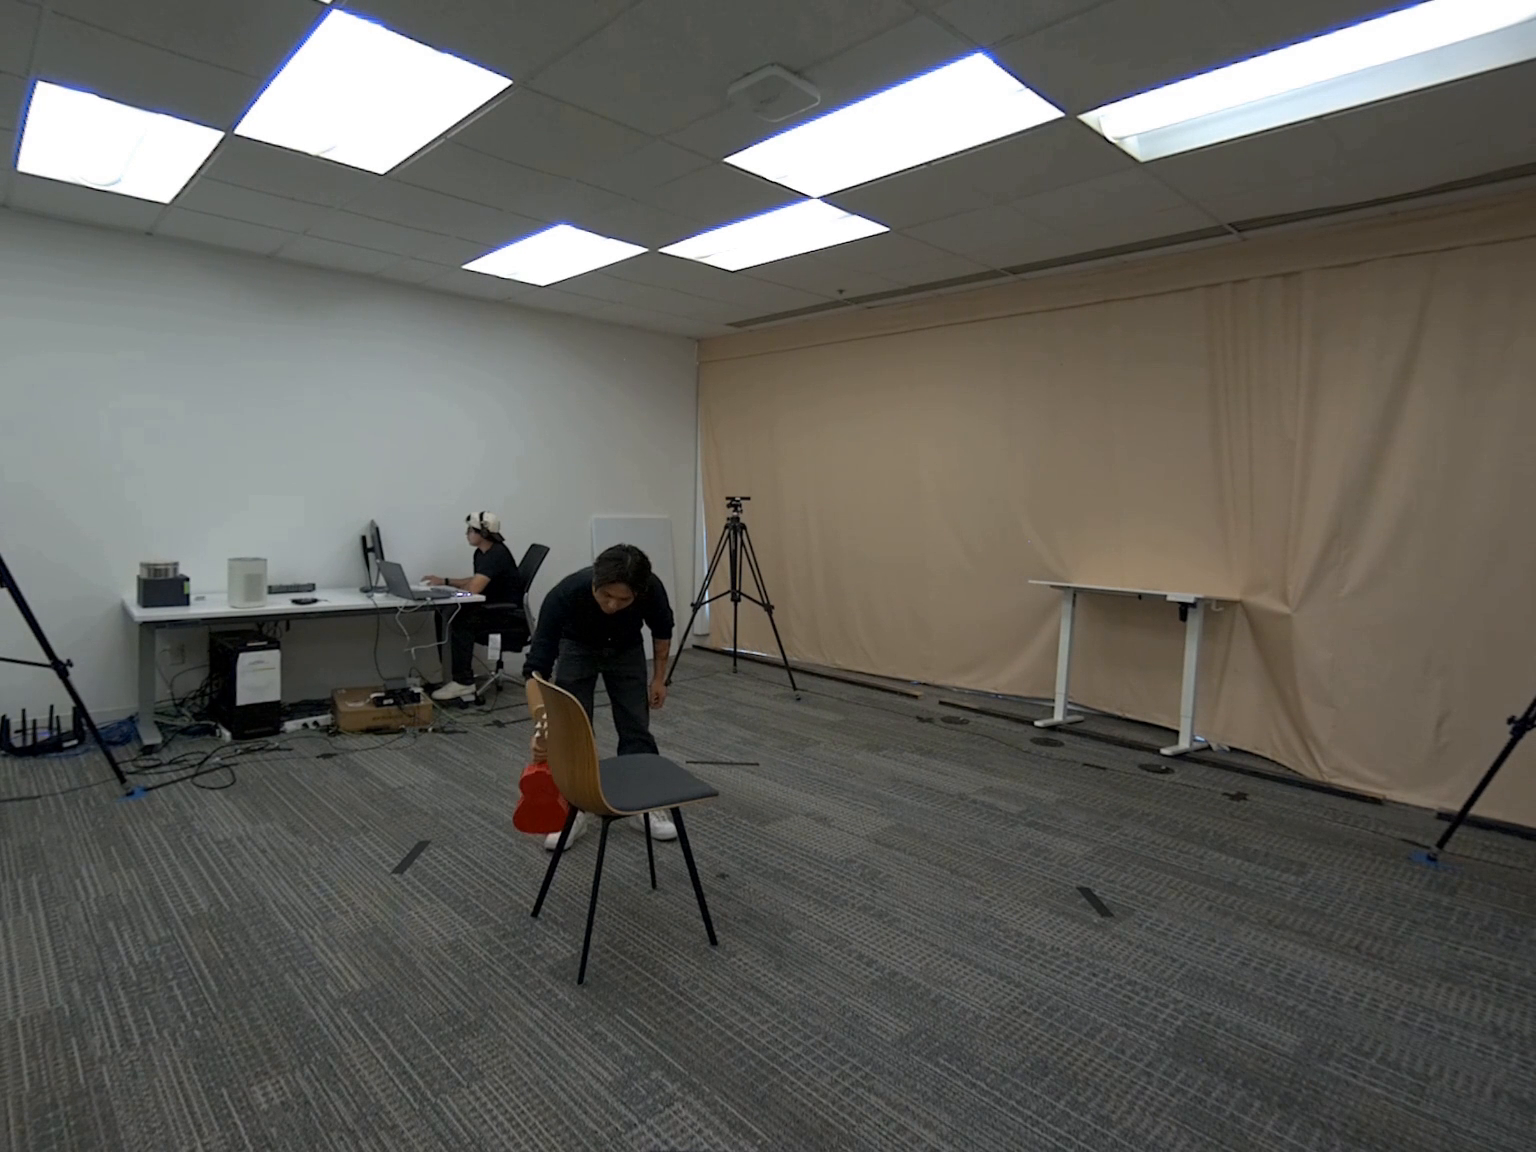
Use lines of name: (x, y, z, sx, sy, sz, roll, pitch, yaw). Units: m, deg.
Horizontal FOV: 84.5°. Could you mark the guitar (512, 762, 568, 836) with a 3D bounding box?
guitar: (-0.826, 0.679, 2.927, 0.193, 0.490, 0.072, -4, 21, -1)
